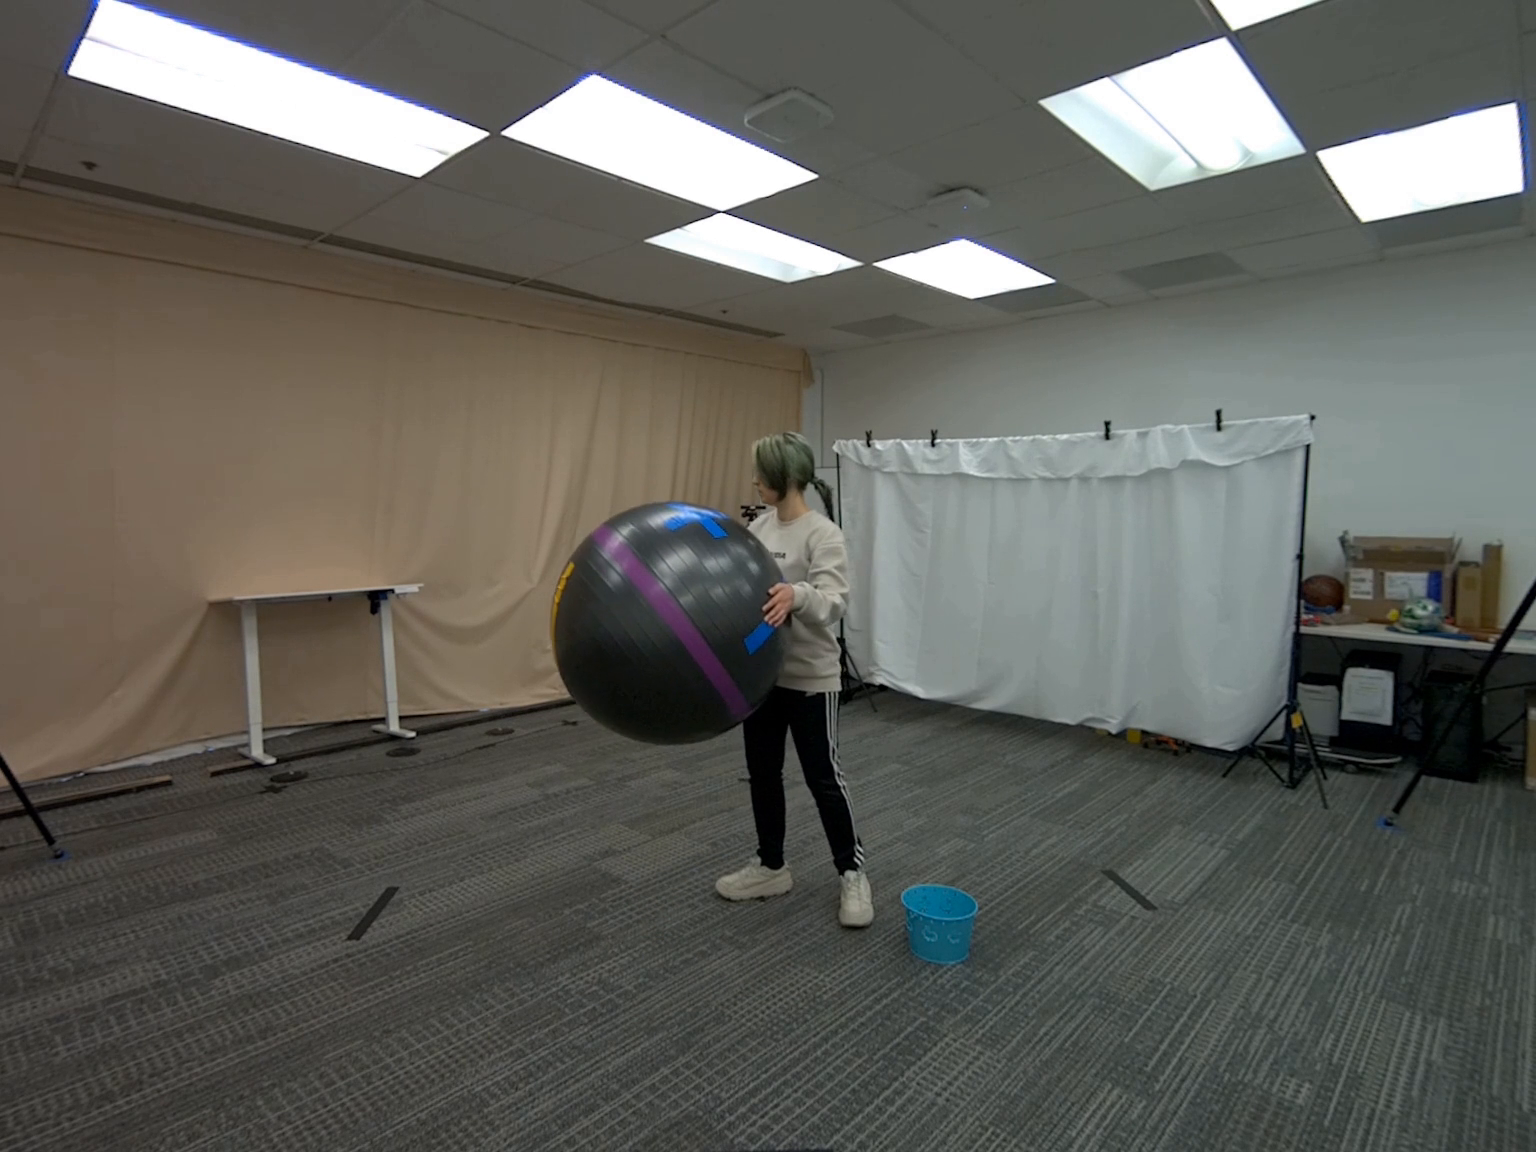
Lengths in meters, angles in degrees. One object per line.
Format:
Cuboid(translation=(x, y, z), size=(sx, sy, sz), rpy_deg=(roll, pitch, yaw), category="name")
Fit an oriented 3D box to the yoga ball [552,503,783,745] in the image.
Cuboid(translation=(-0.312, 0.153, 2.654), size=(0.757, 0.756, 0.760), rpy_deg=(0, 4, -2), category="yoga ball")
